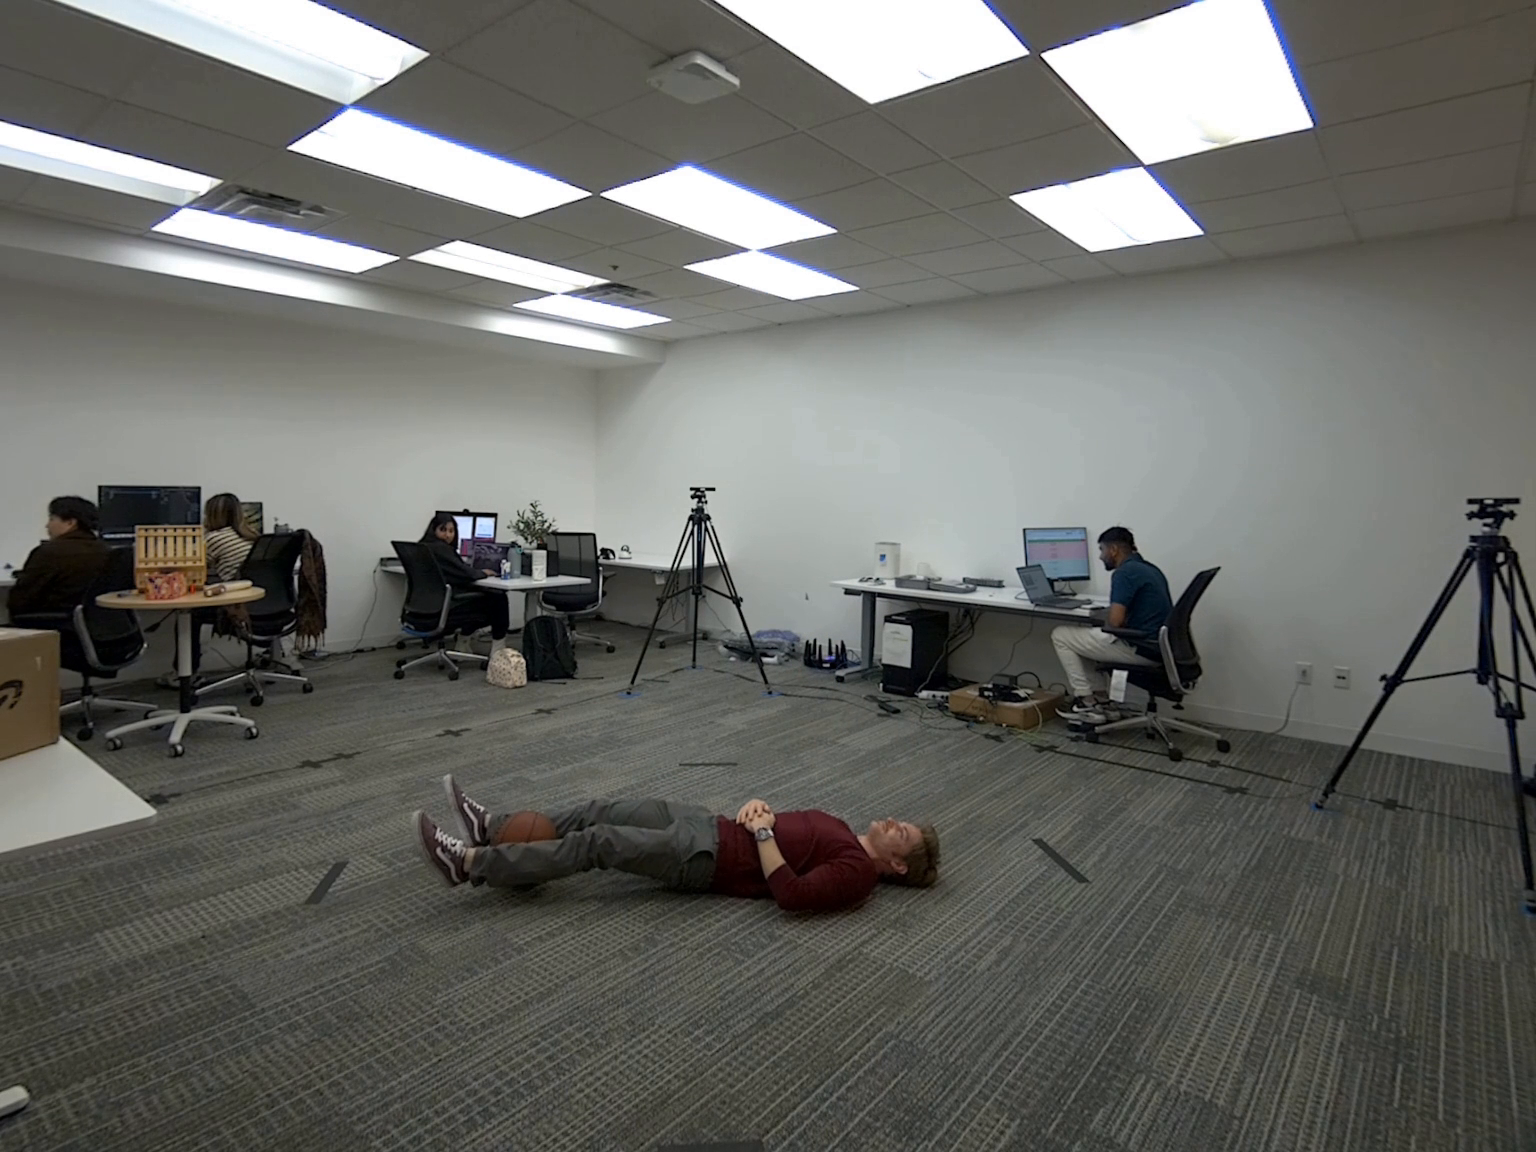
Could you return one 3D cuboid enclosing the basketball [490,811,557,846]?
[{"bbox_3d":[-0.853,0.935,2.984,0.235,0.235,0.237,1,4,-2],"label":"basketball"}]
